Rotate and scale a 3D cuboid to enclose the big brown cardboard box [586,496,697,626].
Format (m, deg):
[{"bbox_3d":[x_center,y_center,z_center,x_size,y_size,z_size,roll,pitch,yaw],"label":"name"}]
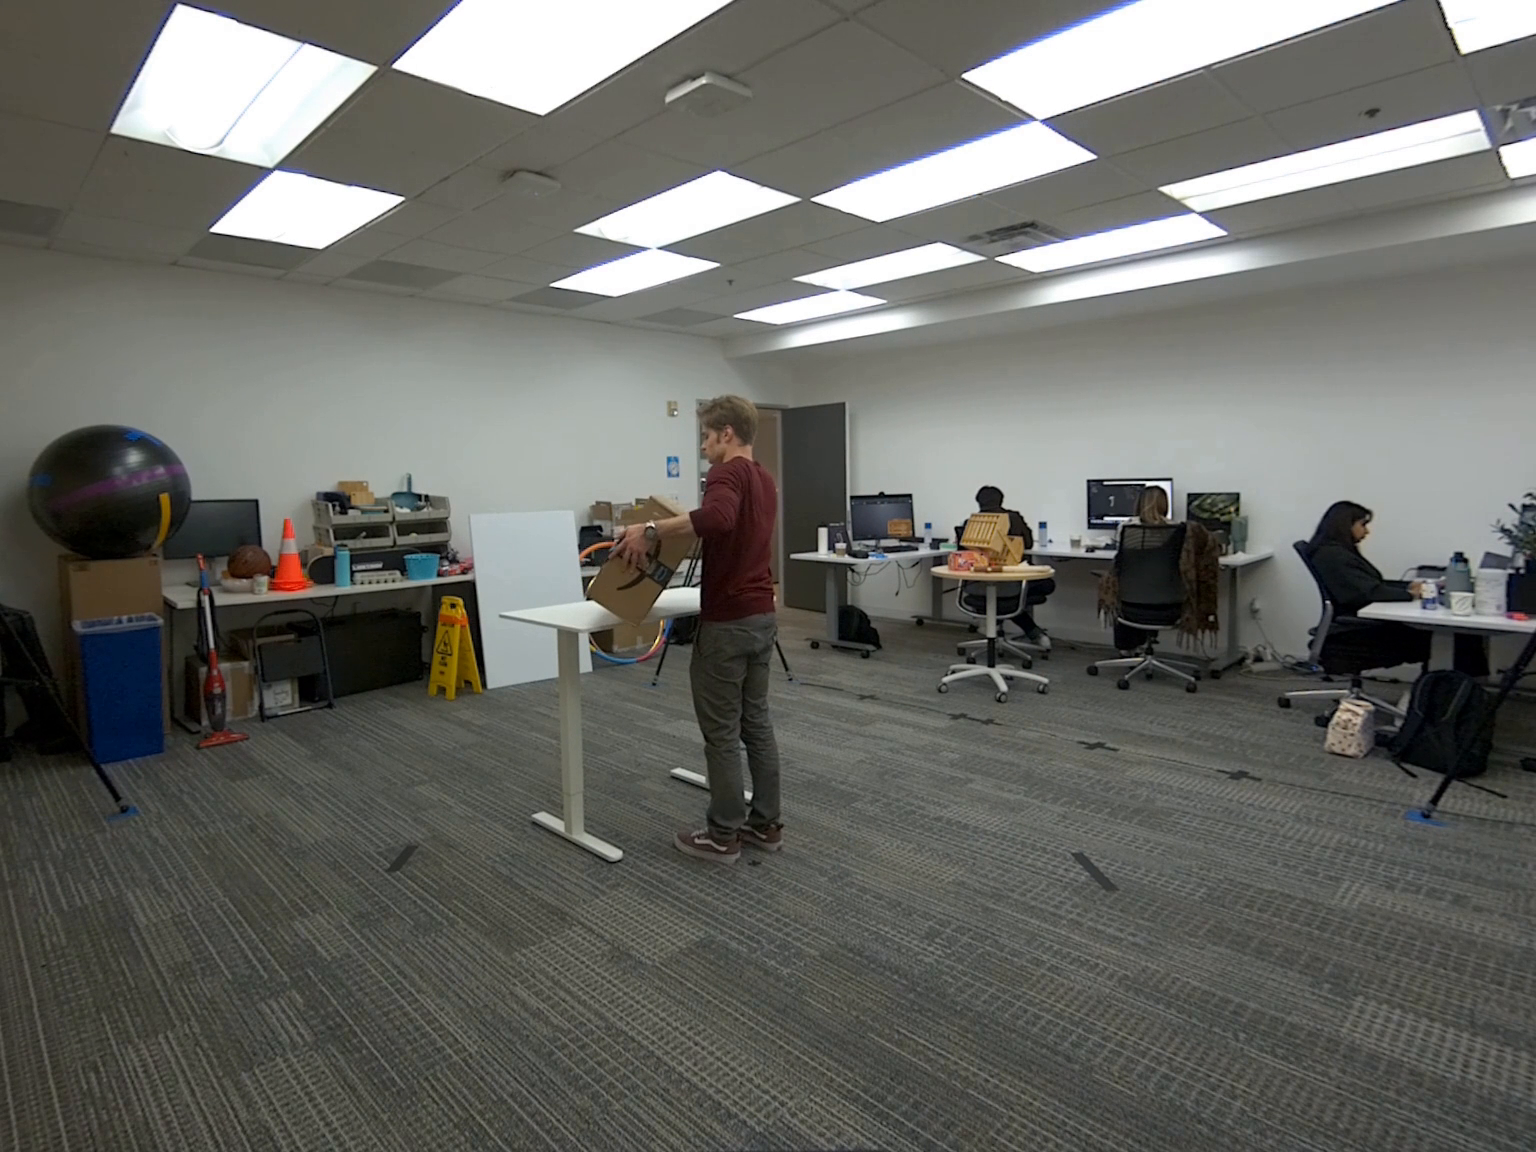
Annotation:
[{"bbox_3d":[-0.444,-0.081,3.226,0.232,0.417,0.592,33,5,-4],"label":"big brown cardboard box"}]
